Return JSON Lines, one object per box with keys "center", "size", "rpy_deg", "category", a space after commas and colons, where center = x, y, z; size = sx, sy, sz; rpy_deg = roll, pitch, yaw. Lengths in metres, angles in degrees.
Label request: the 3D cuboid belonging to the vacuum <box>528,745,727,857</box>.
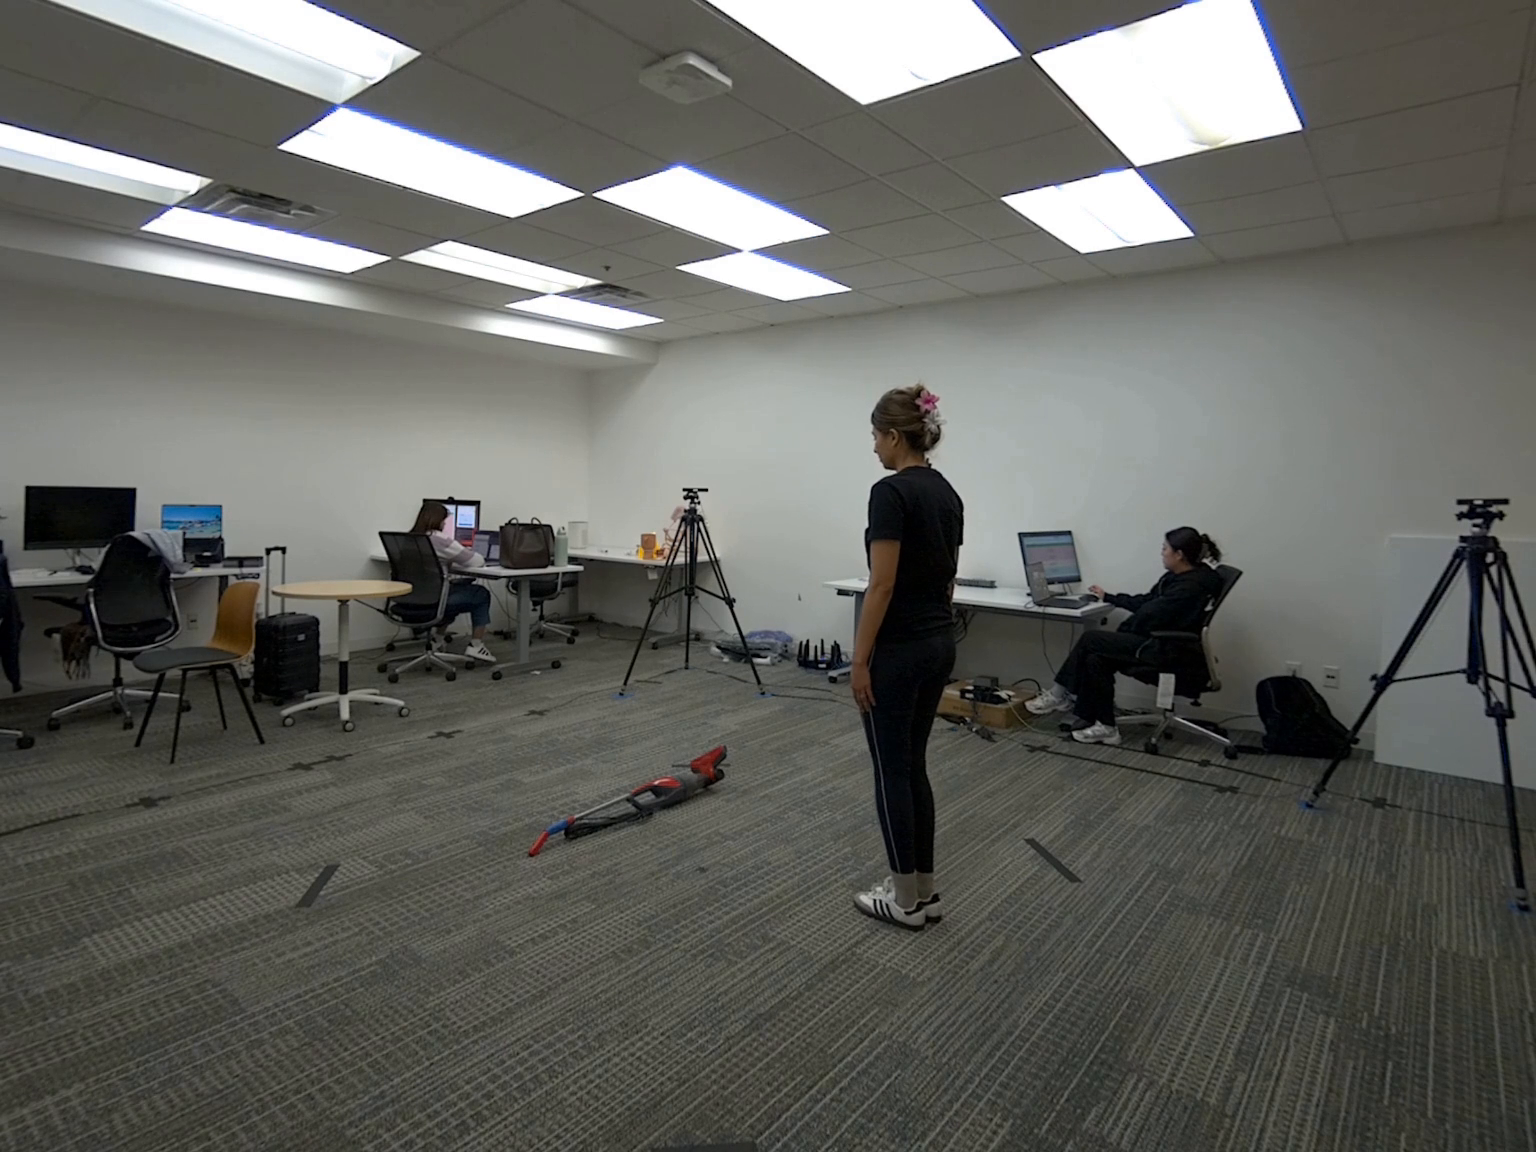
{"center": [-0.587, 0.971, 3.586], "size": [0.255, 0.146, 1.023], "rpy_deg": [-33, -12, 38], "category": "vacuum"}
